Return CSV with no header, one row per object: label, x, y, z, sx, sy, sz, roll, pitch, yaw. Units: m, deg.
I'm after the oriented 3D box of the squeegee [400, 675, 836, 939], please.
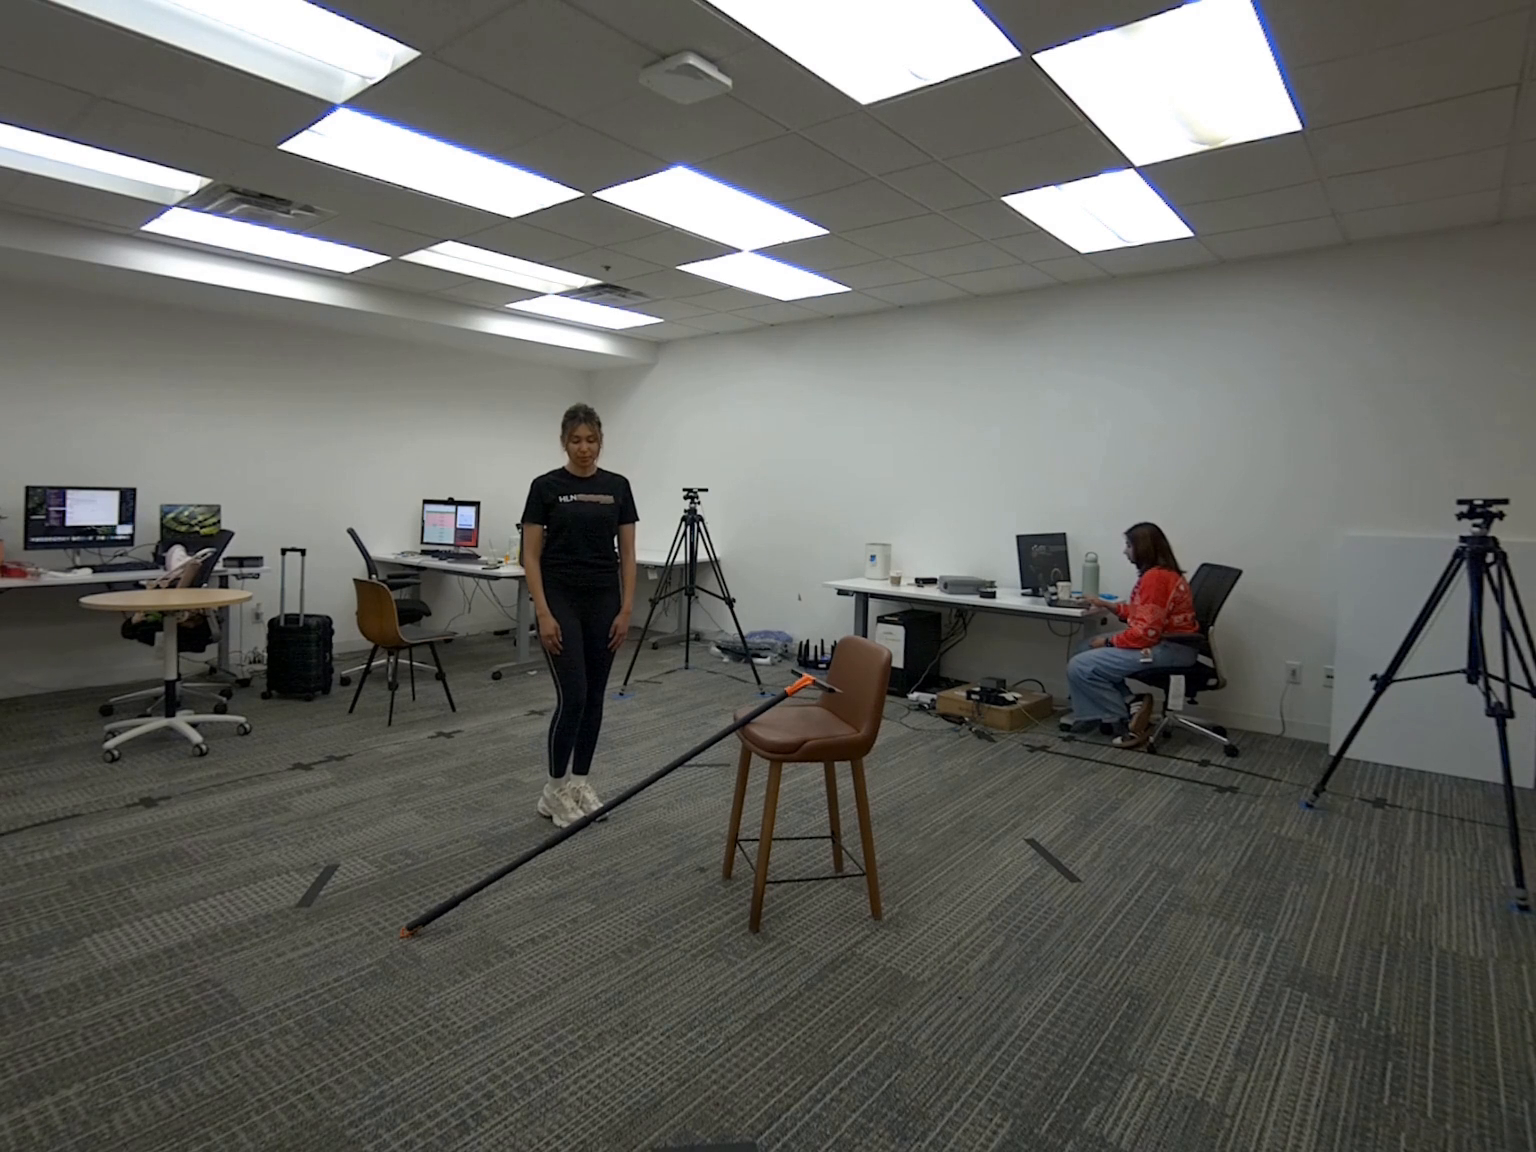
squeegee,-0.478,0.706,2.758,1.530,0.054,0.432,-30,-10,-11
